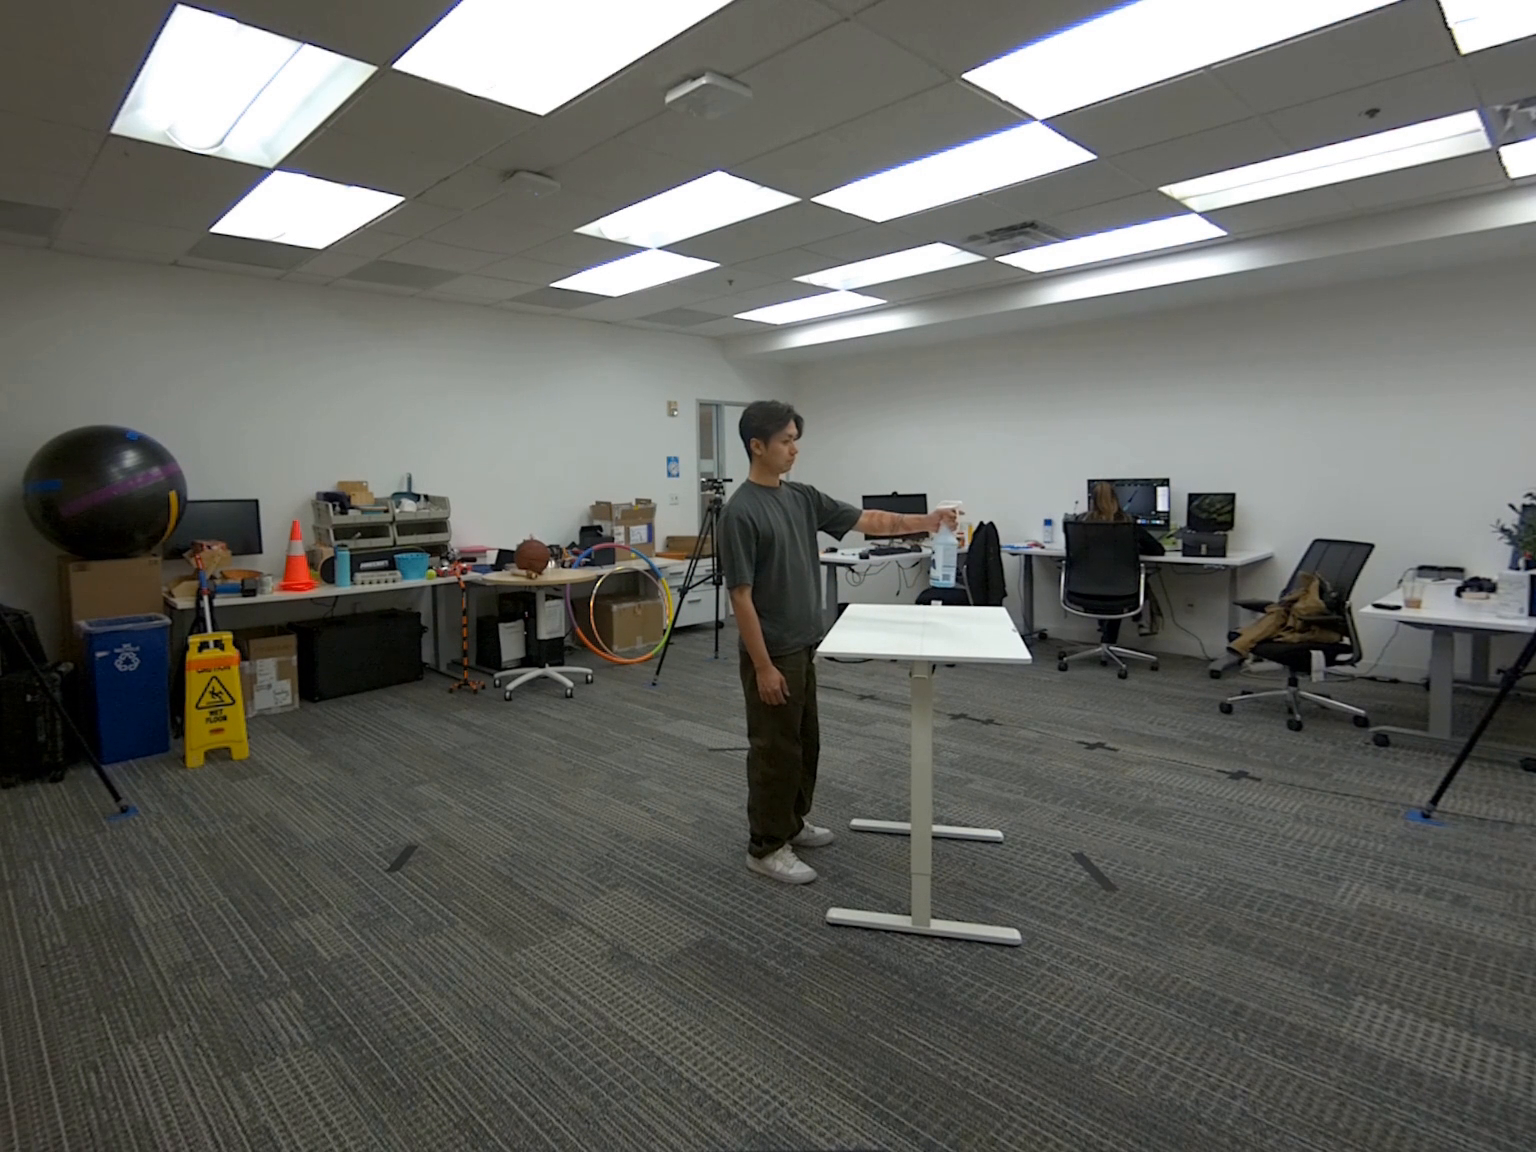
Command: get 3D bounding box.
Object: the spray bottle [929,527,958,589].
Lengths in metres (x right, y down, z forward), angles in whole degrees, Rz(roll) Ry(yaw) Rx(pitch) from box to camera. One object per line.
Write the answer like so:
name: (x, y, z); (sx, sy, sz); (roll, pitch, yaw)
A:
spray bottle: (0.611, -0.111, 2.955); (0.085, 0.296, 0.093); (0, 6, -32)
